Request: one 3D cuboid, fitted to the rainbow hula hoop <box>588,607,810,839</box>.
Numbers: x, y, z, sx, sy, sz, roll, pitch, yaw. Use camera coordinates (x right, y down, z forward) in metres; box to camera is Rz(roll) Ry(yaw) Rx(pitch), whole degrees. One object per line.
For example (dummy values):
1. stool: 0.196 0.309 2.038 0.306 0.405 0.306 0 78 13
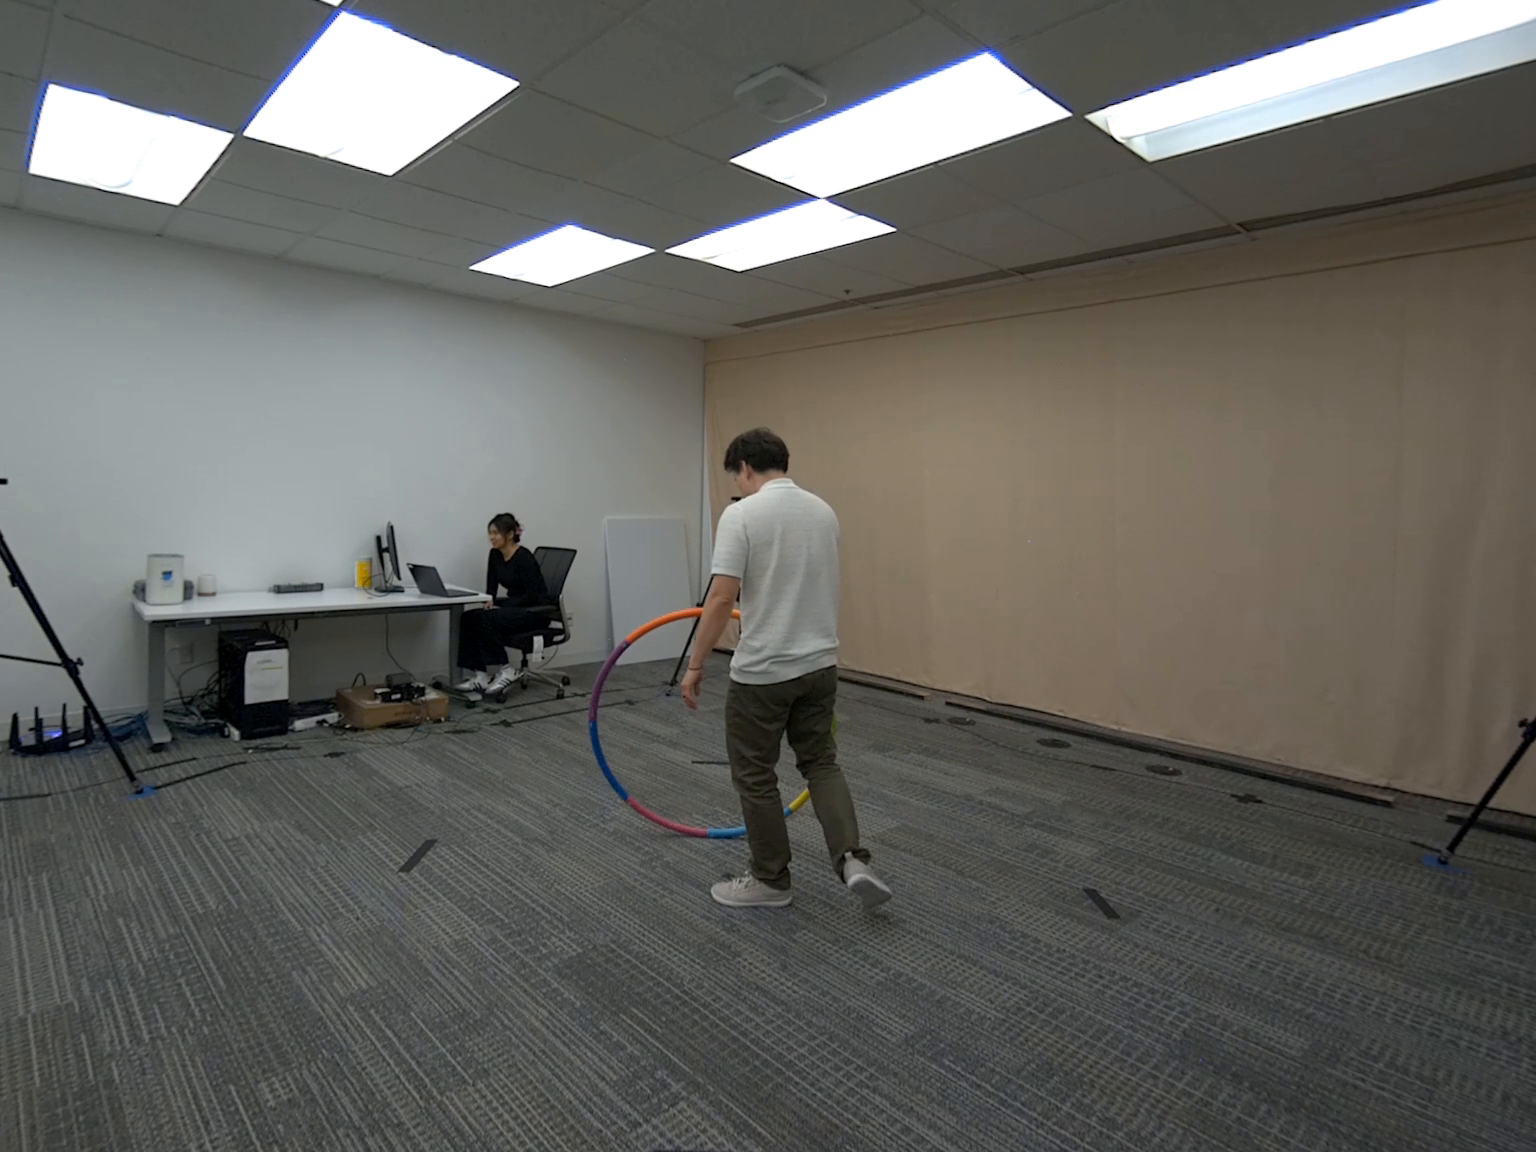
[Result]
1. rainbow hula hoop: -0.222 0.602 3.354 0.981 0.969 0.036 2 13 3
